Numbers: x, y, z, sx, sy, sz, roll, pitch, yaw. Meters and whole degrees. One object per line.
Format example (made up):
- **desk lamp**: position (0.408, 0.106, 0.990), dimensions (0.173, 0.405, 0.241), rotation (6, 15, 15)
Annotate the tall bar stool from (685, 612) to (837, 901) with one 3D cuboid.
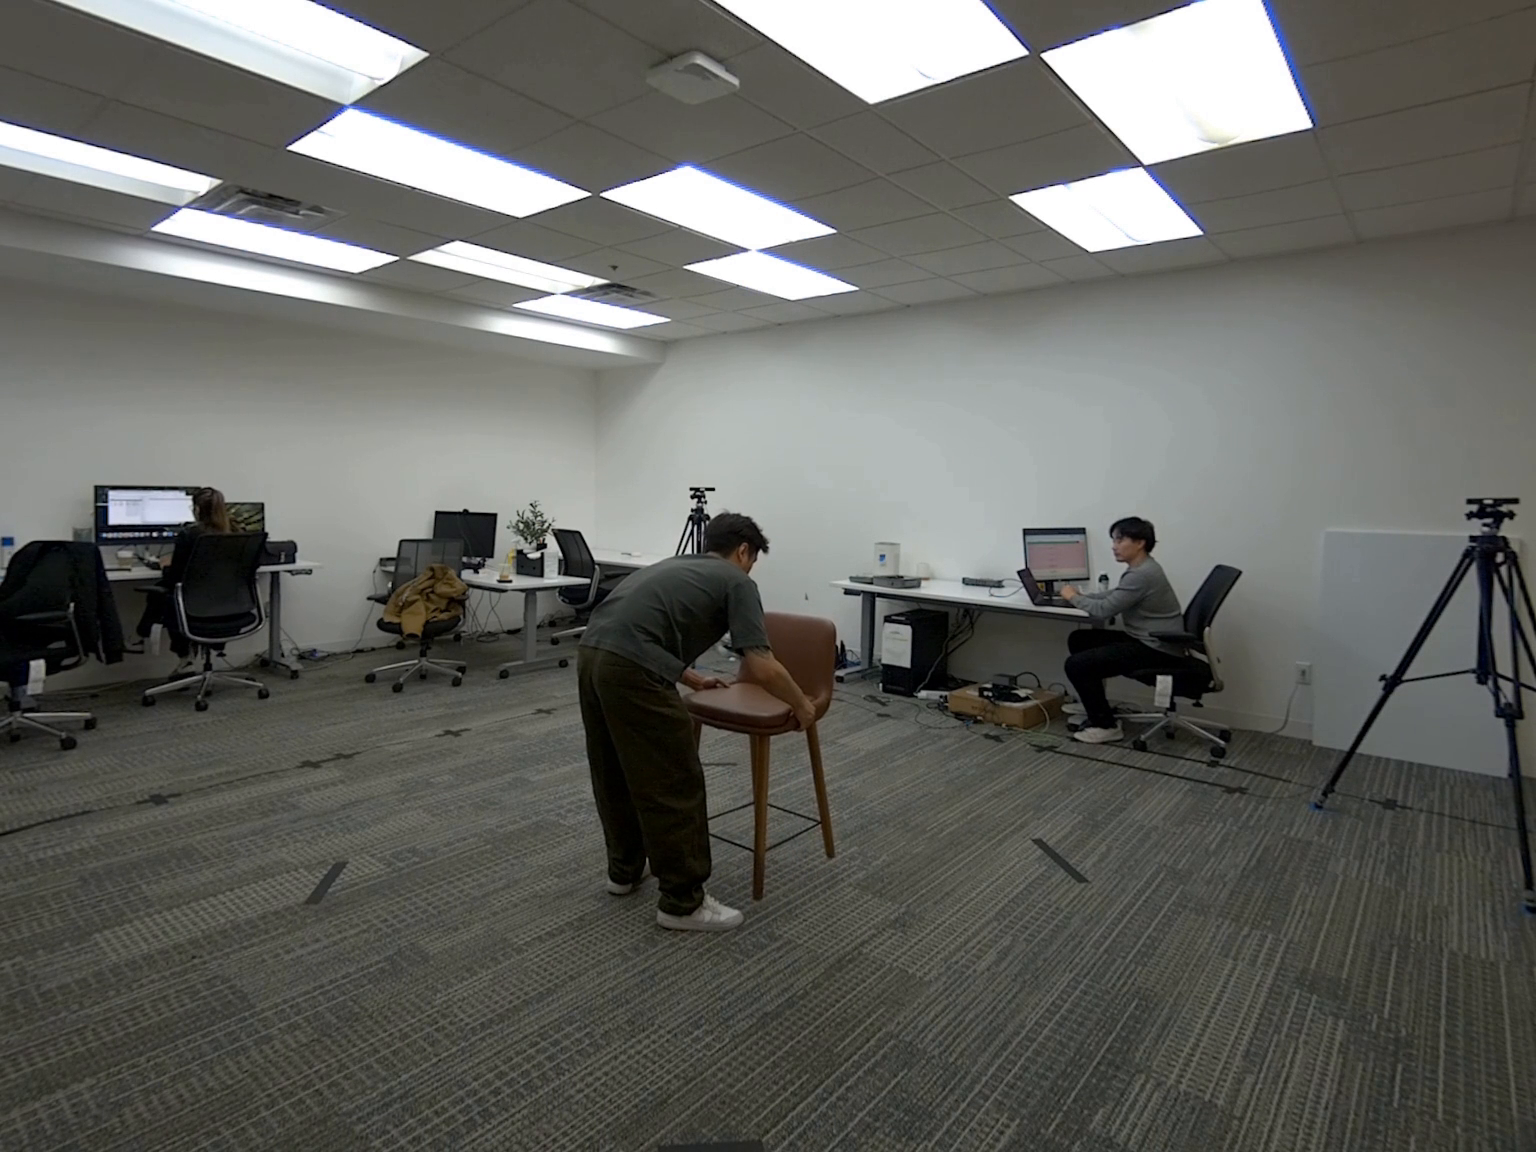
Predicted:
- **tall bar stool**: position (-0.051, 0.602, 3.068), dimensions (0.472, 0.887, 0.453), rotation (4, 4, 43)
